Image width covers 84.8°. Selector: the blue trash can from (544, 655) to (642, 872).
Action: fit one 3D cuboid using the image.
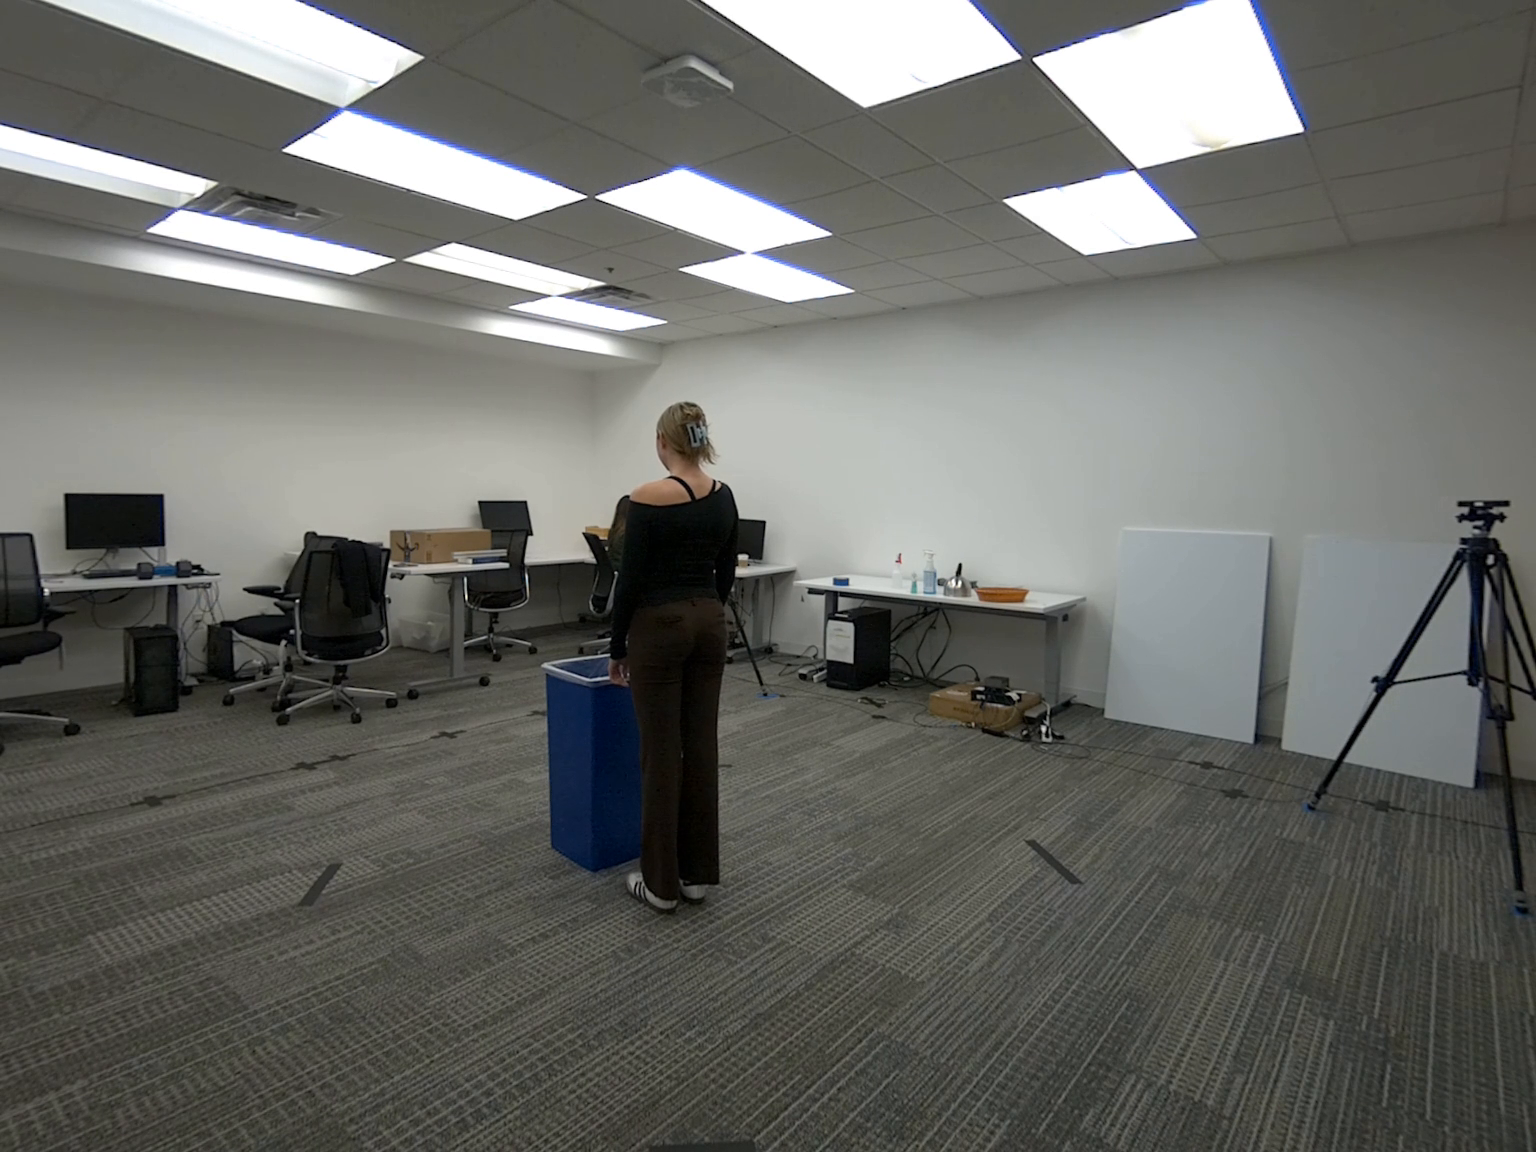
[{"bbox_3d":[-0.645,0.696,3.256,0.362,0.712,0.391,-2,4,-43],"label":"blue trash can"}]
